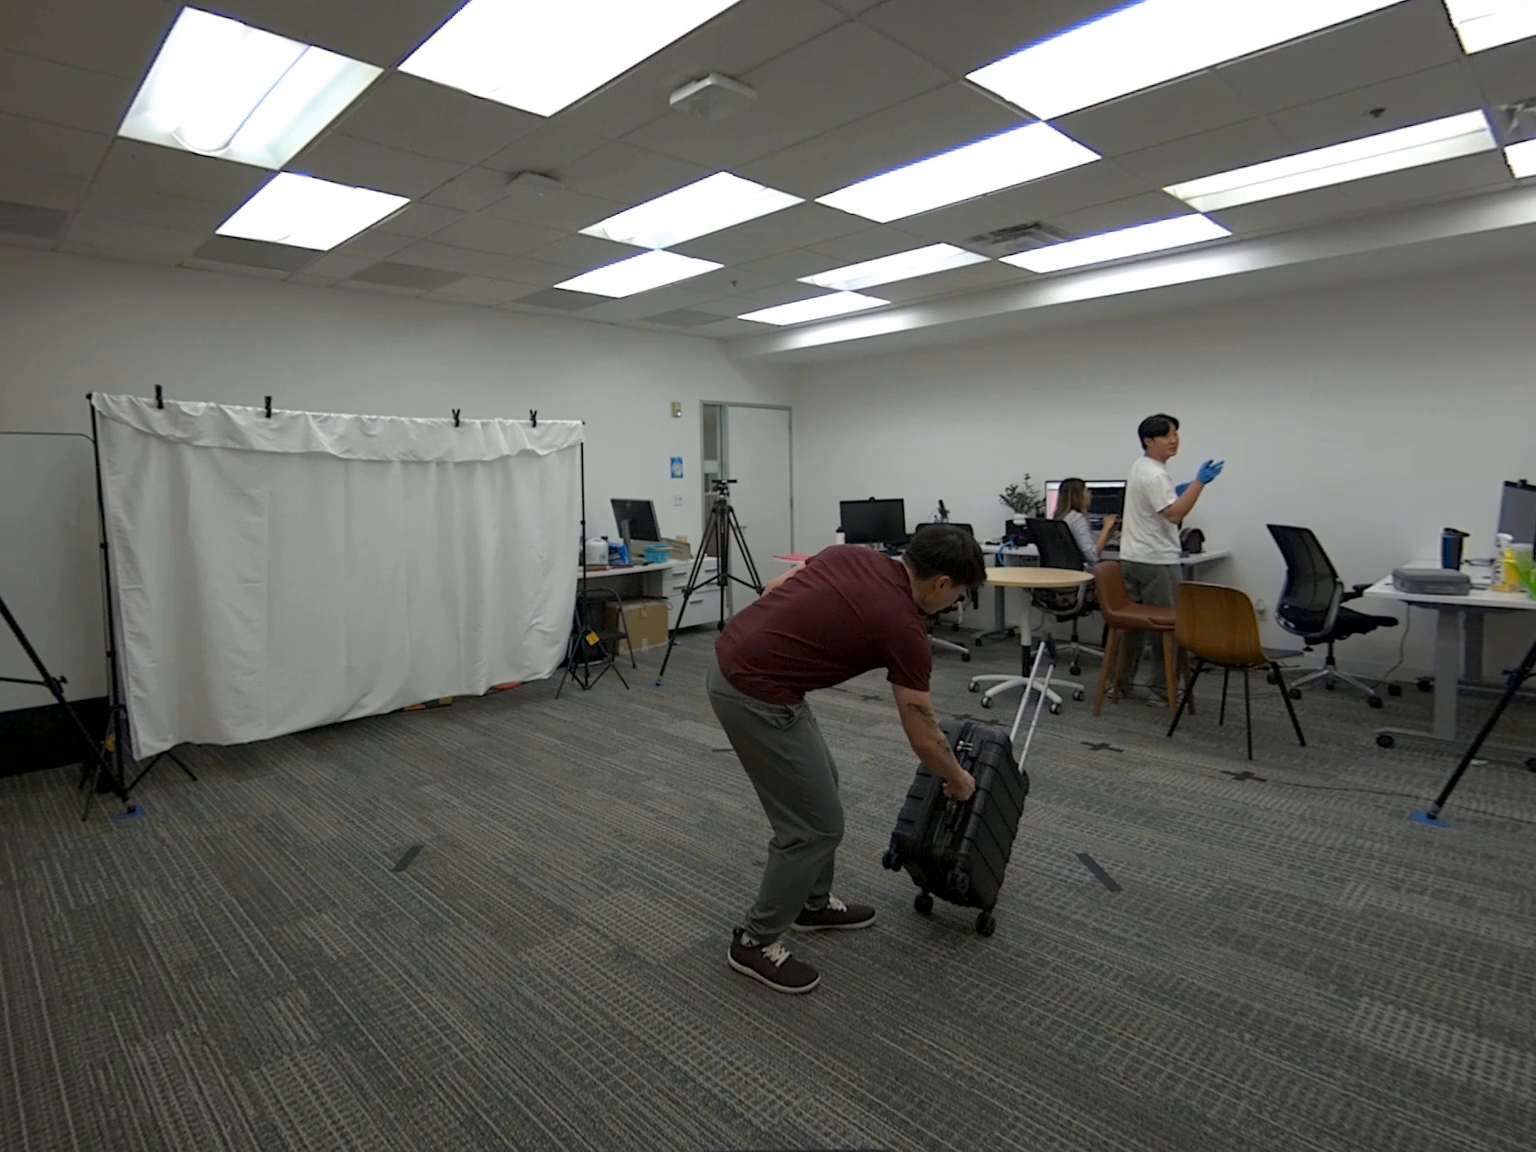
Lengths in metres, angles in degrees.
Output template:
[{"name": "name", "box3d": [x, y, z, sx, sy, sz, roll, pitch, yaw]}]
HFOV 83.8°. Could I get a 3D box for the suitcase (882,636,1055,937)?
[{"name": "suitcase", "box3d": [0.704, 0.612, 2.815, 0.264, 0.986, 0.370, 1, -41, 38]}]
